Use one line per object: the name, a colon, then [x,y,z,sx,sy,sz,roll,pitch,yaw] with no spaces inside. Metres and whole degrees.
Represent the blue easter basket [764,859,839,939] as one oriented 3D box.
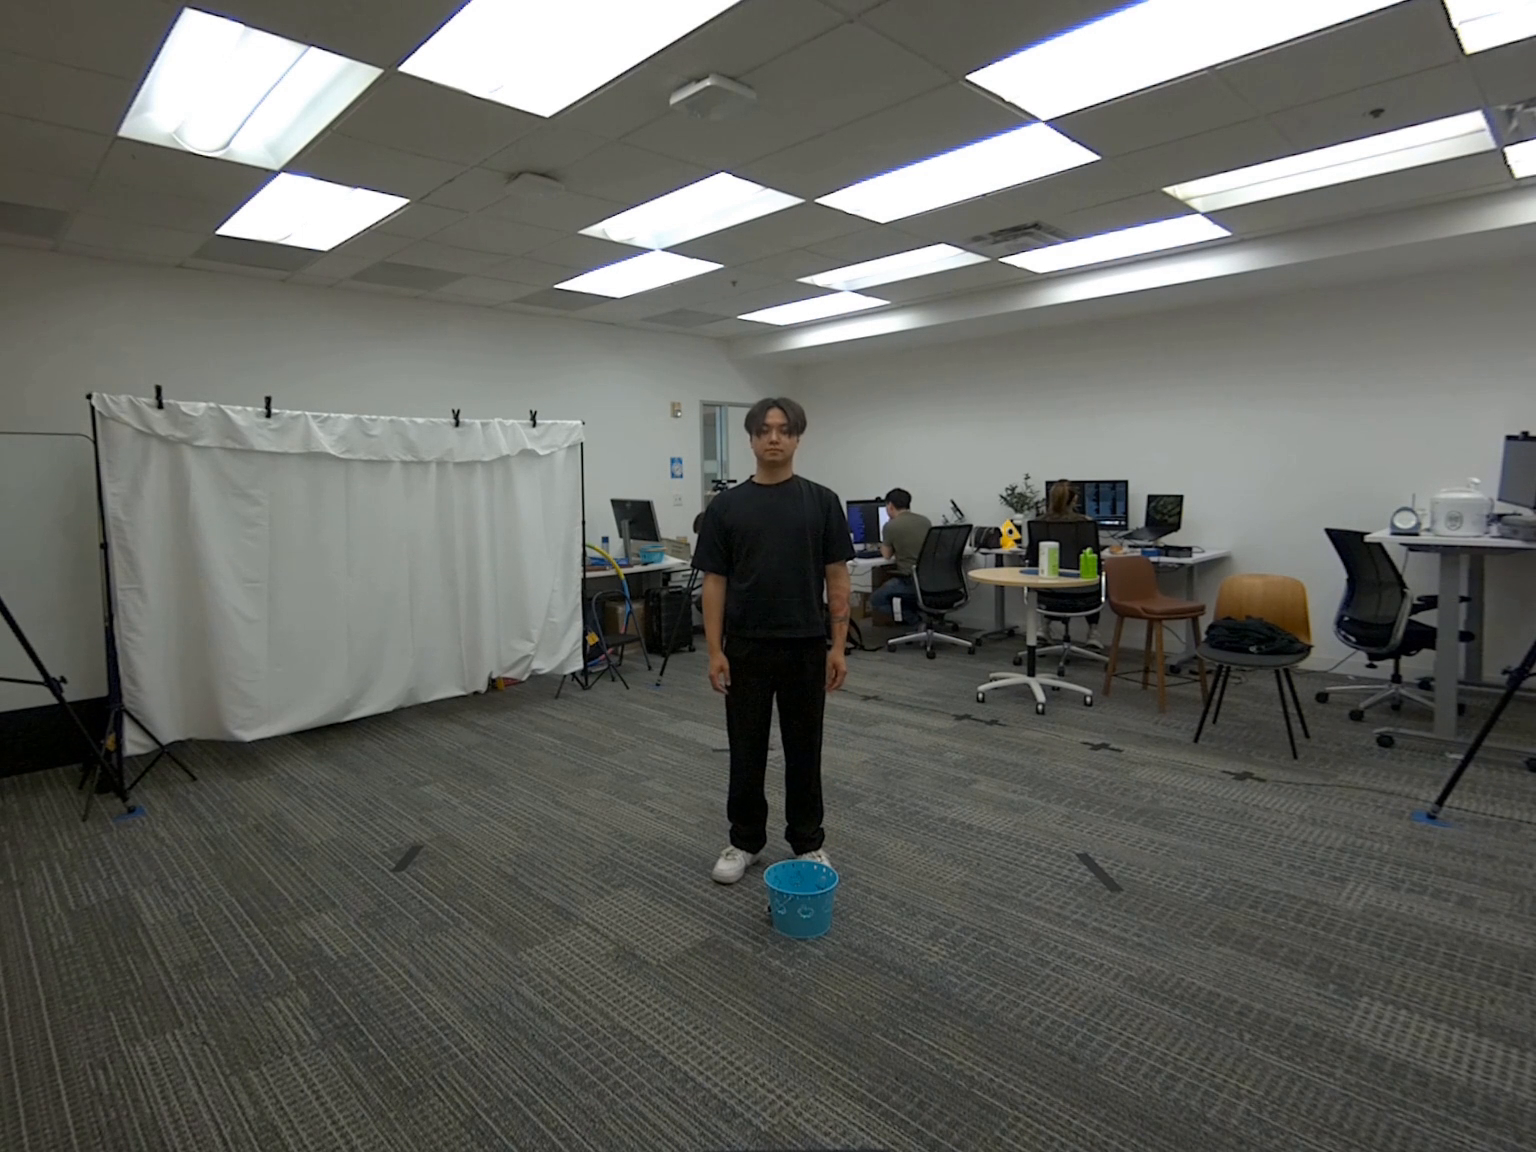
blue easter basket: [0.106,1.016,2.687,0.243,0.155,0.245,-1,5,-2]
